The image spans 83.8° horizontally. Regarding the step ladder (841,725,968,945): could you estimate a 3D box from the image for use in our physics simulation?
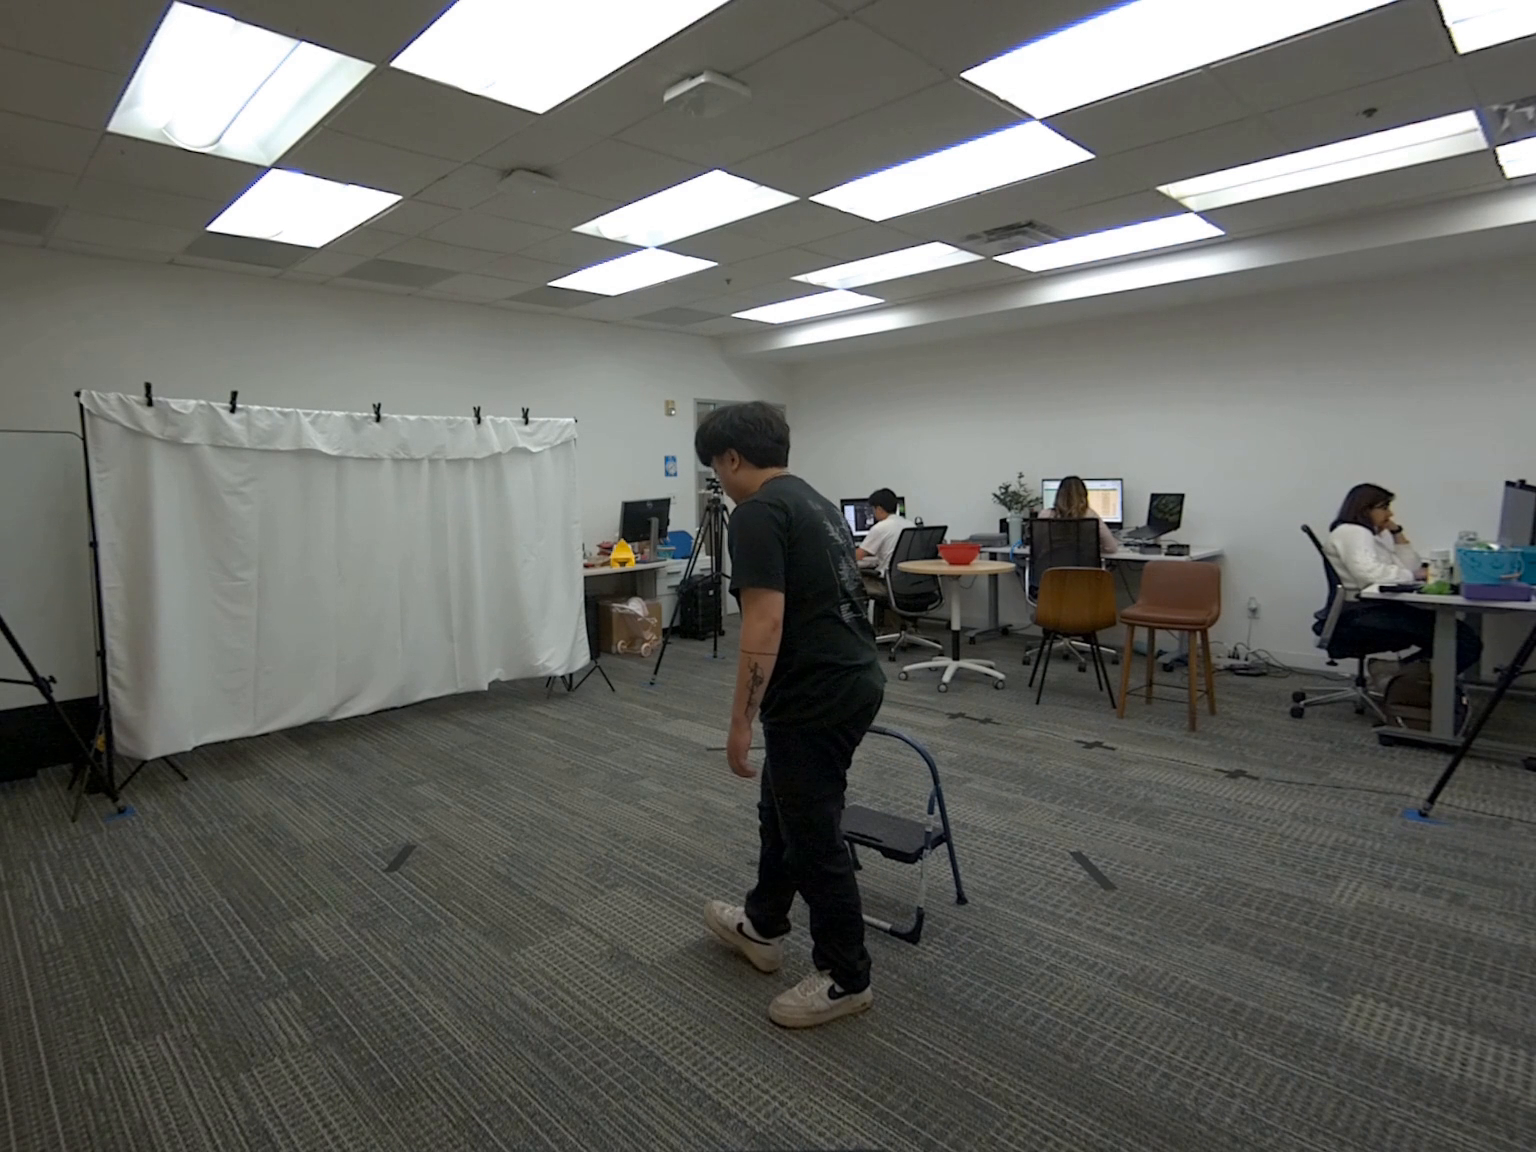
[{"bbox_3d":[0.382,0.767,2.786,0.443,0.604,0.340,2,5,38],"label":"step ladder"}]
